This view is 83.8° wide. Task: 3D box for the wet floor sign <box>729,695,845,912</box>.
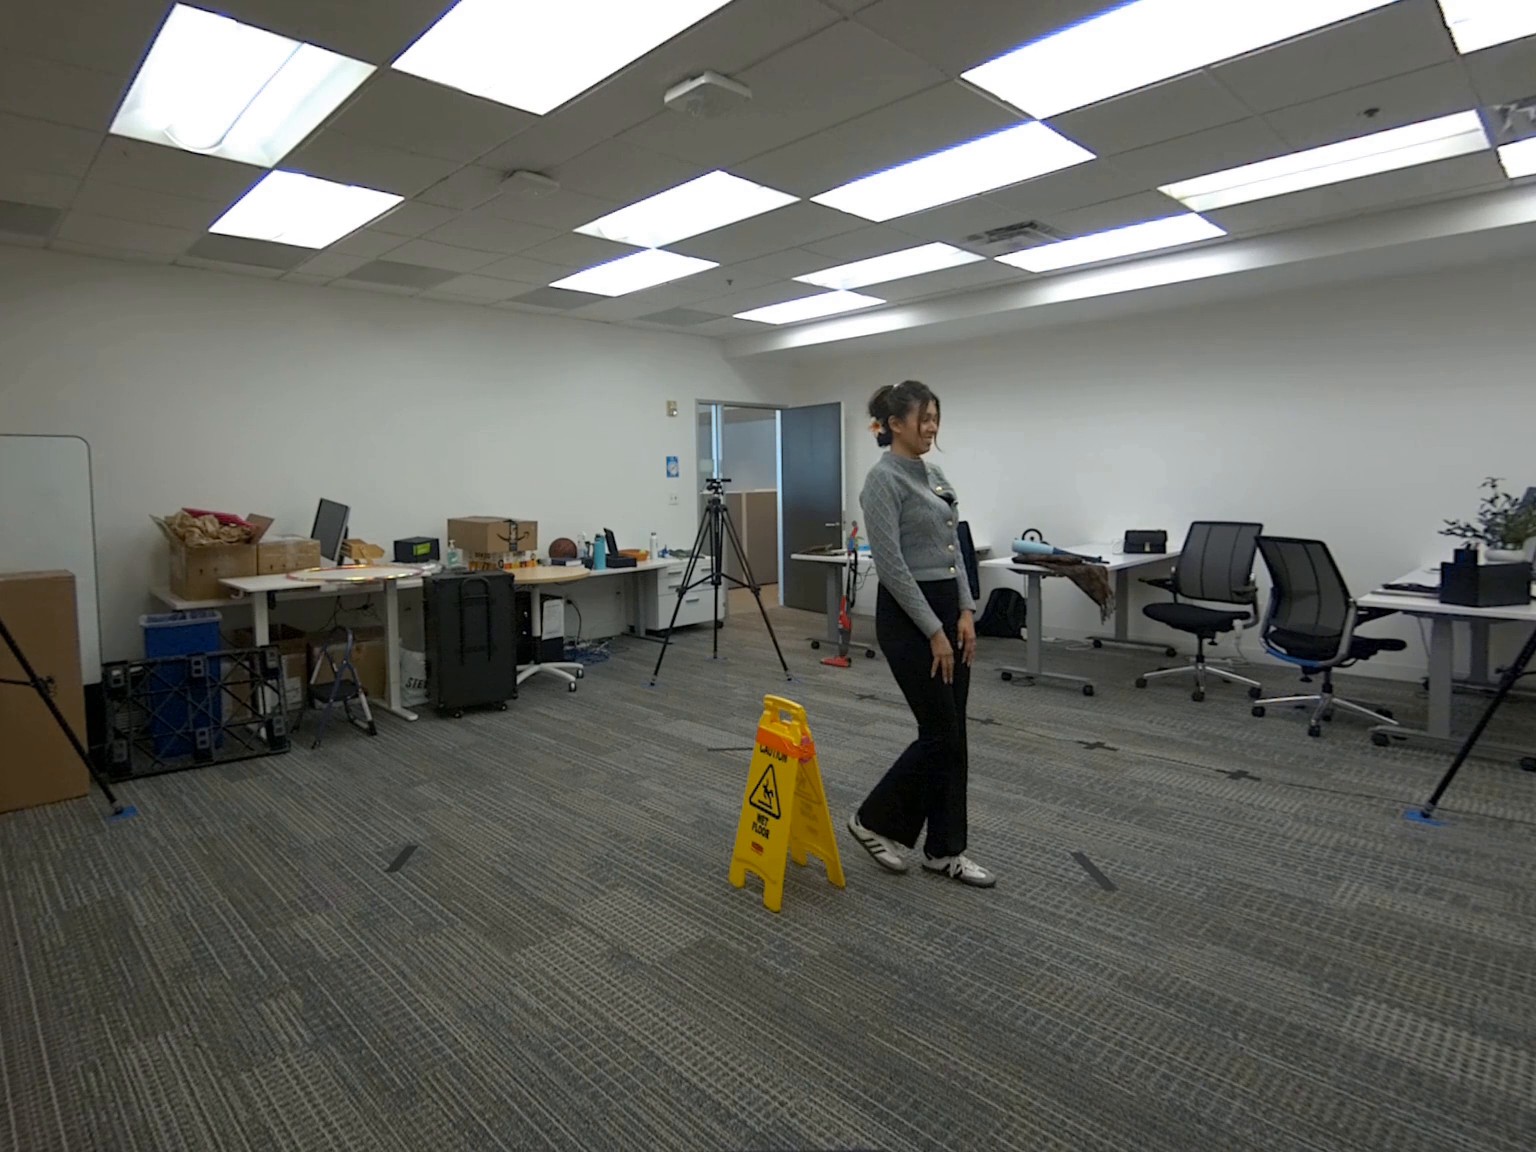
[{"bbox_3d":[0.061,0.740,2.921,0.282,0.644,0.290,-4,5,-36],"label":"wet floor sign"}]
